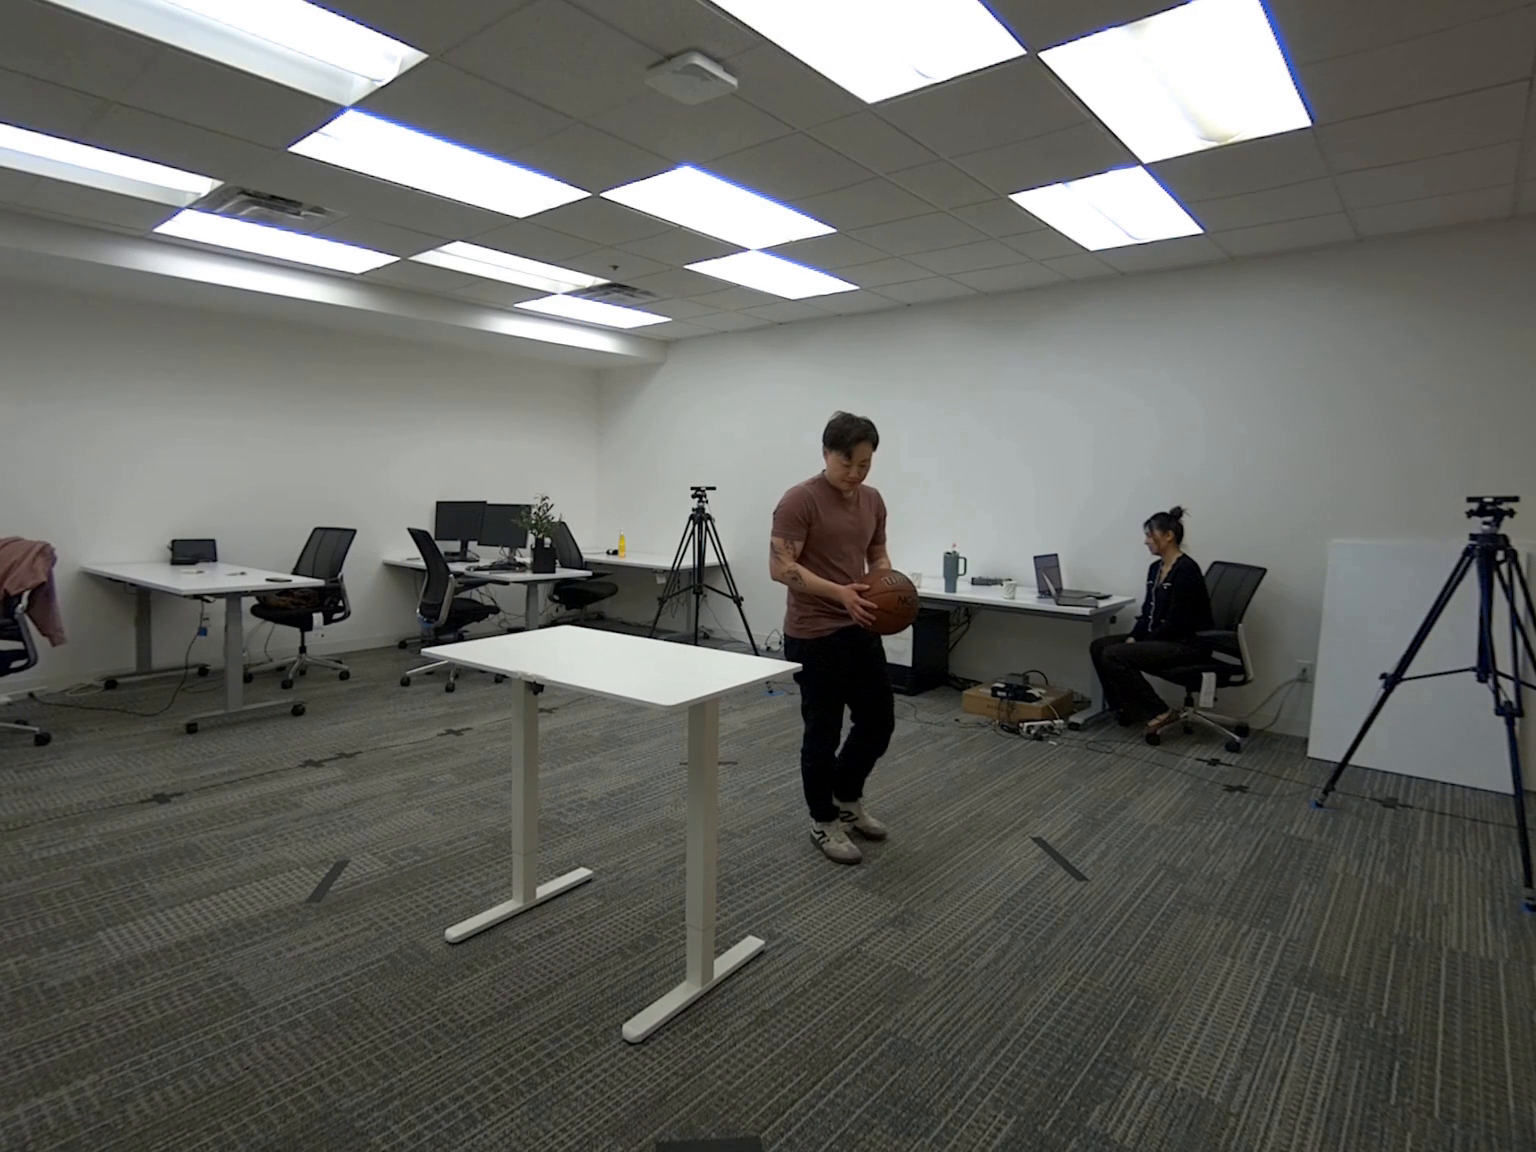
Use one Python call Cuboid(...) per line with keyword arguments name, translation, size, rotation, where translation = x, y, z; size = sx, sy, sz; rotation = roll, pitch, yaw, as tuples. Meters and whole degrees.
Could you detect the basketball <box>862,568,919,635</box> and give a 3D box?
Cuboid(name="basketball", translation=(0.413, 0.087, 3.017), size=(0.235, 0.235, 0.237), rotation=(1, 4, -2))
